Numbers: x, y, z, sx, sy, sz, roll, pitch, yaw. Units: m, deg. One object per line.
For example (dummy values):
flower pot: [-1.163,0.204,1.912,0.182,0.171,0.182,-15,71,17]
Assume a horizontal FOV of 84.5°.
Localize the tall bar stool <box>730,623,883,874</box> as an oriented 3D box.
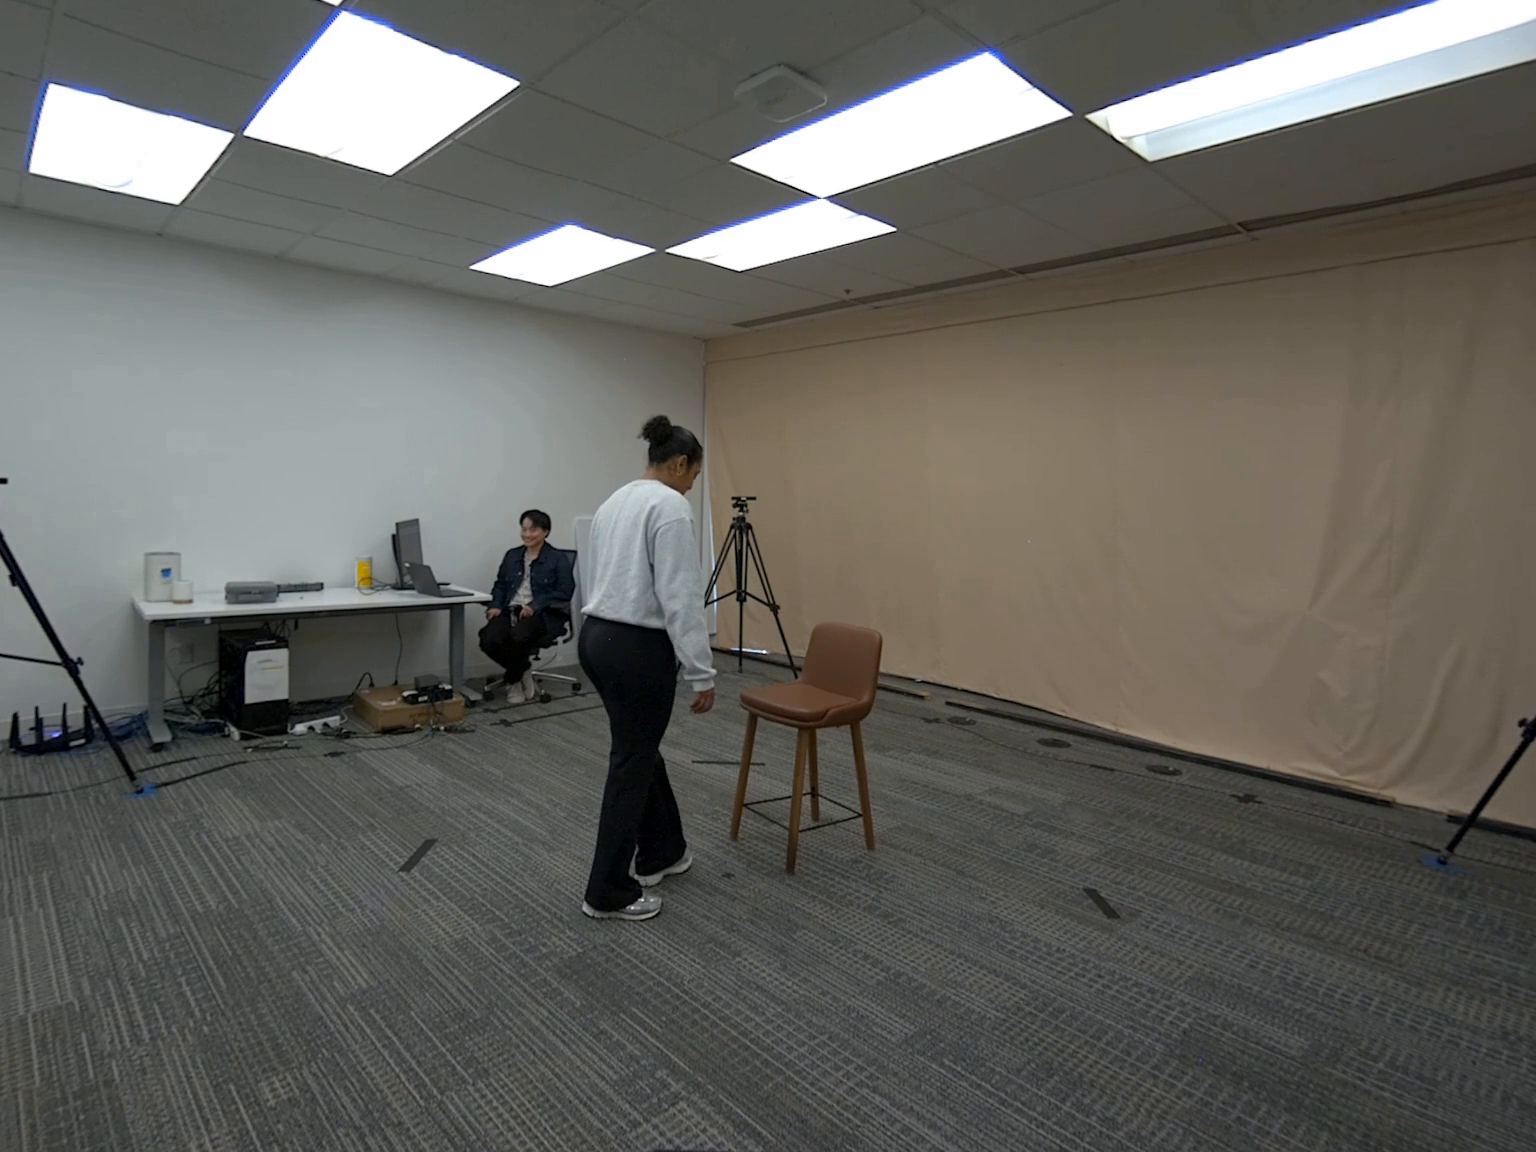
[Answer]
tall bar stool: [0.152,0.653,3.393,0.457,0.889,0.467,2,2,-35]
